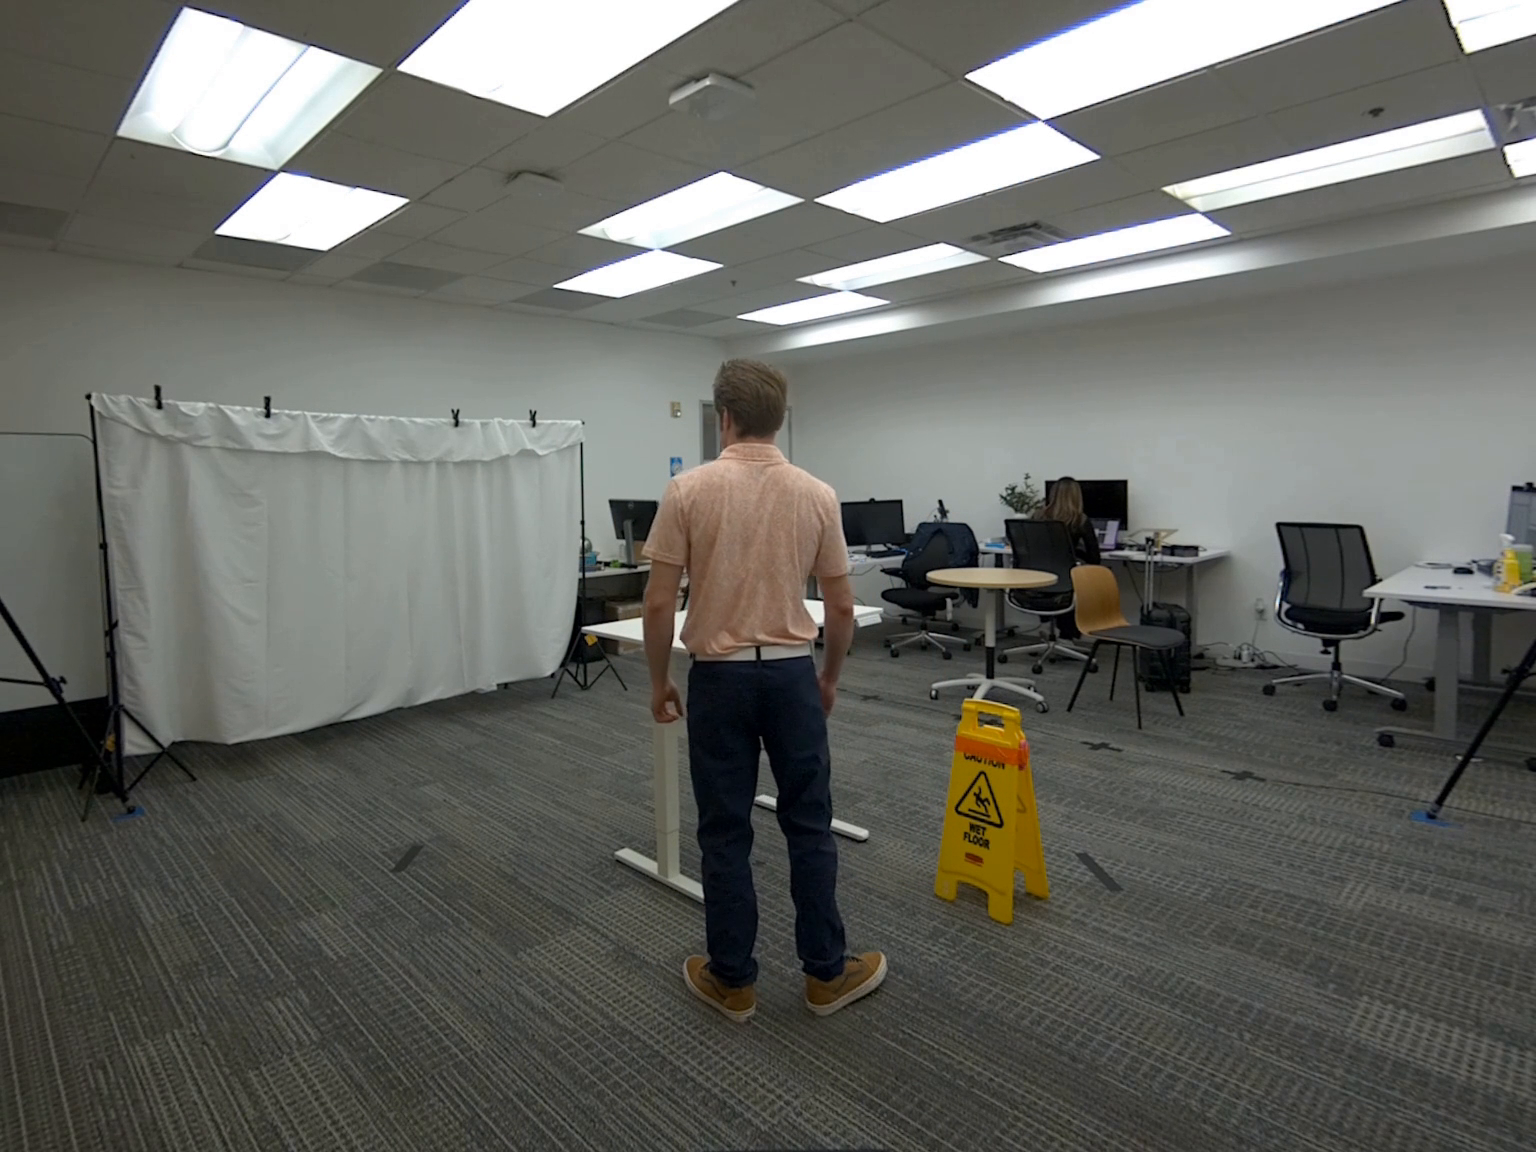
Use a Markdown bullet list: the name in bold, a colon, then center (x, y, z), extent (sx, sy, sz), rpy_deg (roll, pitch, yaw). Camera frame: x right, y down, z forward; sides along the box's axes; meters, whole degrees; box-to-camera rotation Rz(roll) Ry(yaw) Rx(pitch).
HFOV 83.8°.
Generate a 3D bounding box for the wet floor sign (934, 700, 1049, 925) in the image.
- **wet floor sign**: center (0.735, 0.744, 2.807), extent (0.282, 0.644, 0.291), rpy_deg (-6, 5, -44)
